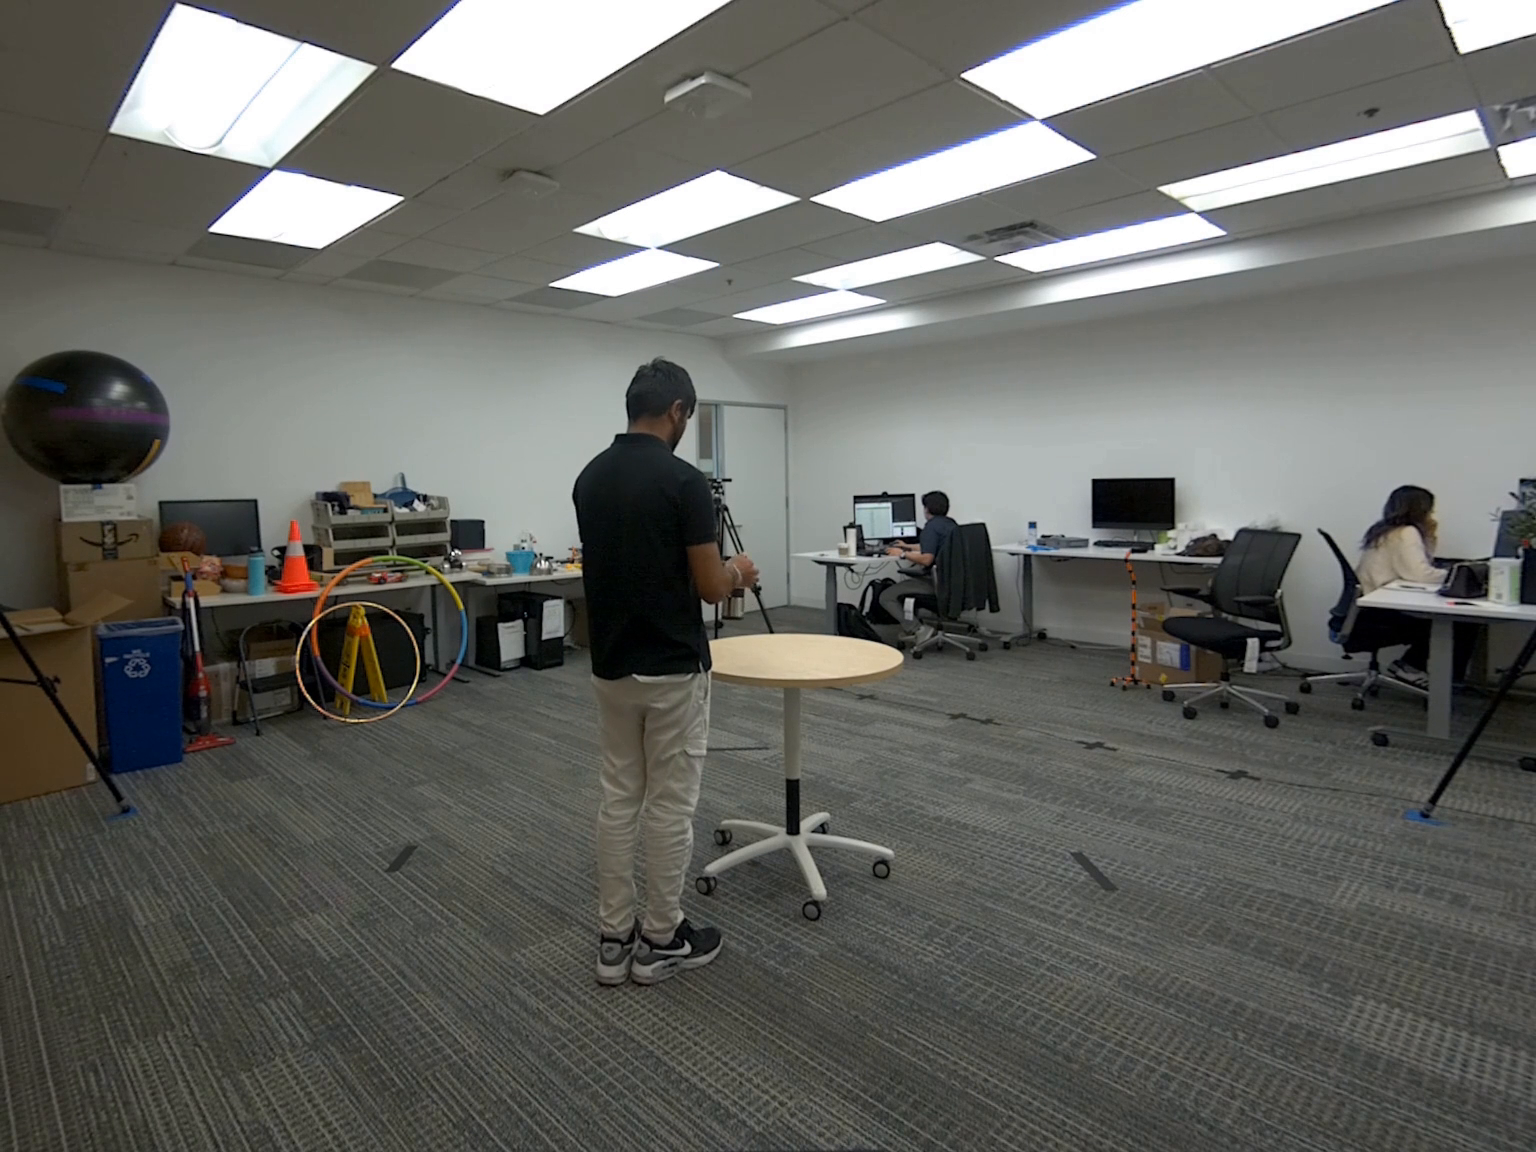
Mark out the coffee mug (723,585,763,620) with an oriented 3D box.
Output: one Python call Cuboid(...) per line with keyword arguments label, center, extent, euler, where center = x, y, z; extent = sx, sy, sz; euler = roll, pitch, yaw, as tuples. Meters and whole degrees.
Cuboid(label="coffee mug", center=(-0.110, 0.041, 2.734), extent=(0.089, 0.204, 0.119), euler=(4, -6, 13))
